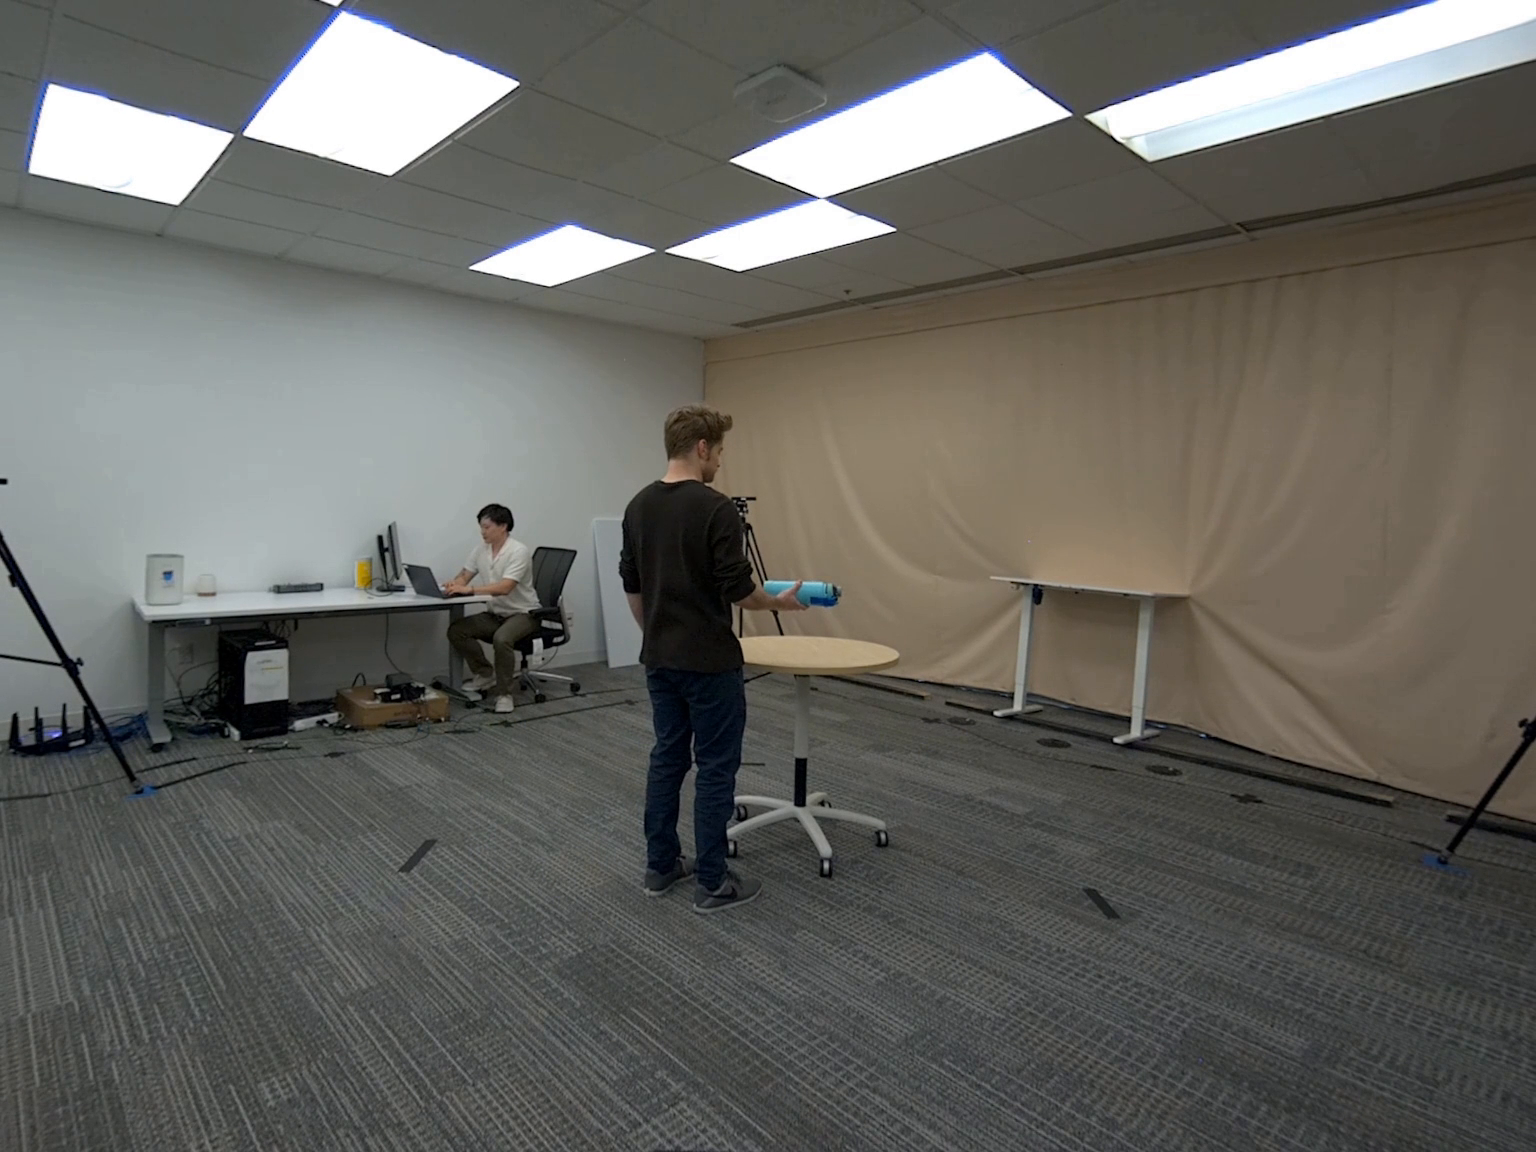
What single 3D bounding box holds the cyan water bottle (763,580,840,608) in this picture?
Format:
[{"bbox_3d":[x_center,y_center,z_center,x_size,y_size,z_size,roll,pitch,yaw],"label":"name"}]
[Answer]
[{"bbox_3d":[0.115,0.067,3.096,0.285,0.092,0.092,2,4,7],"label":"cyan water bottle"}]
